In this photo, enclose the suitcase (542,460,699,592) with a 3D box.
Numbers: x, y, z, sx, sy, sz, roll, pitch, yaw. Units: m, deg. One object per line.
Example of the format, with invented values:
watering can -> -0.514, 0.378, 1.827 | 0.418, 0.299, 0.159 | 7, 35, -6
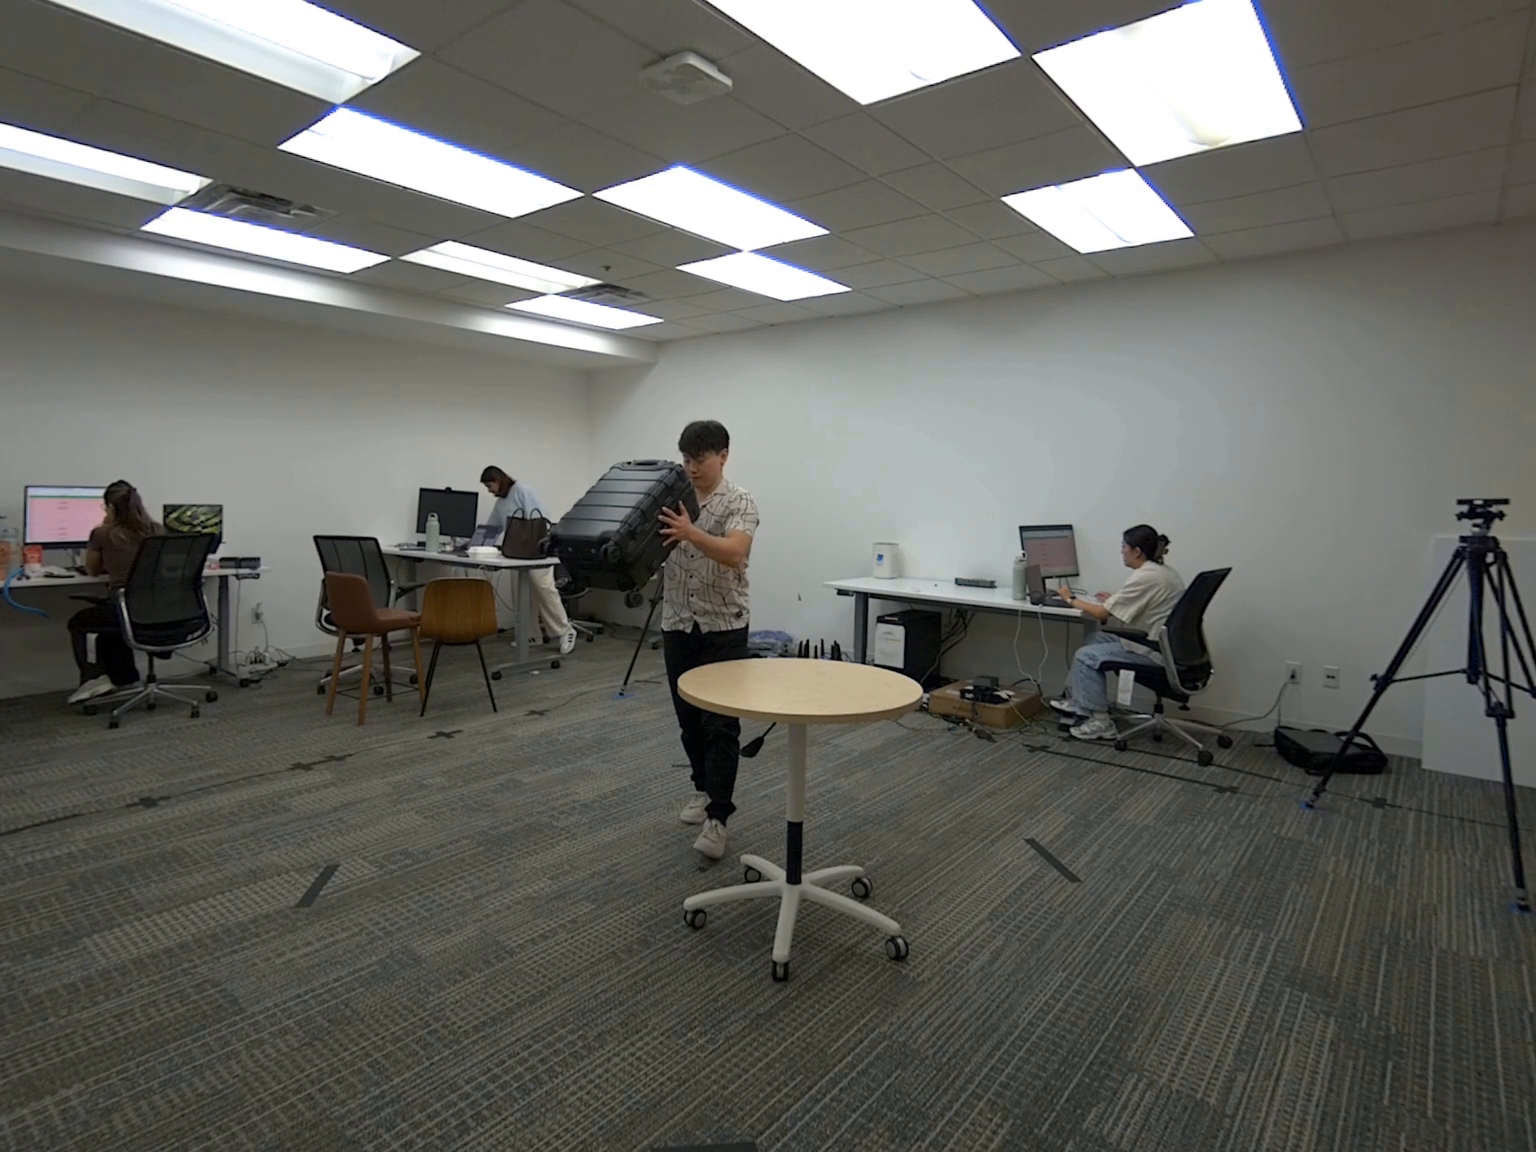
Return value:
suitcase -> -0.530, -0.184, 3.083 | 0.387, 0.239, 0.552 | 4, 42, 31
